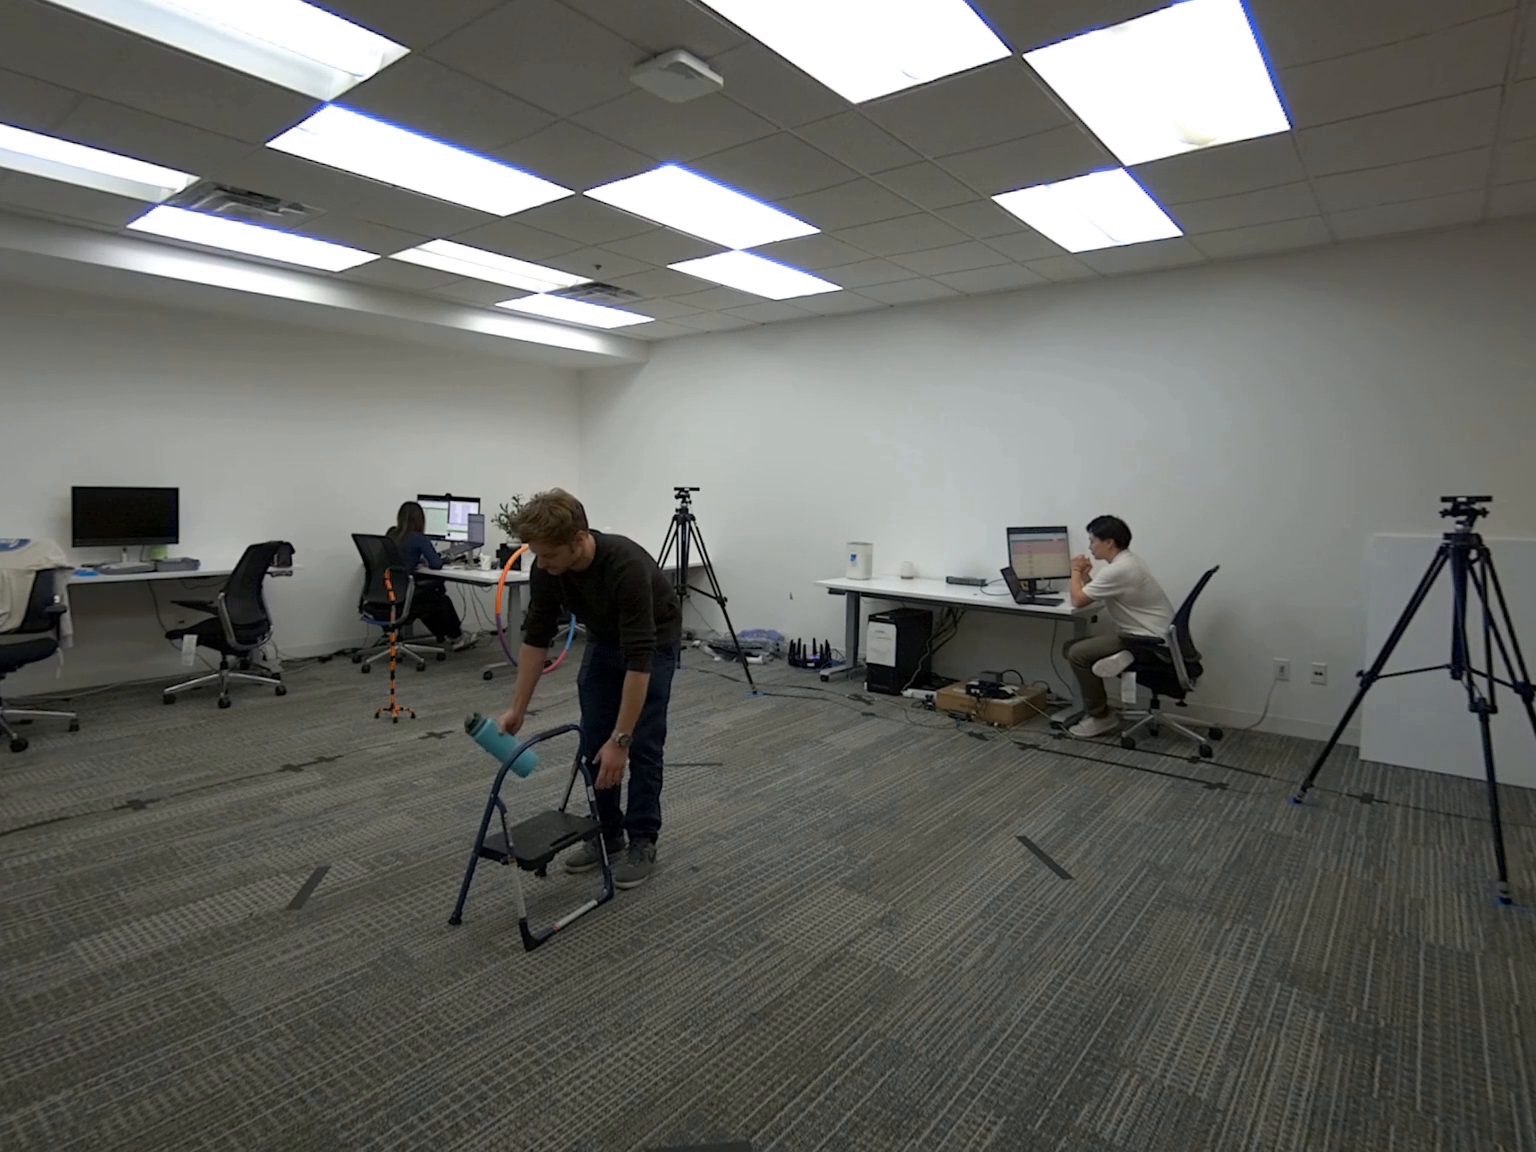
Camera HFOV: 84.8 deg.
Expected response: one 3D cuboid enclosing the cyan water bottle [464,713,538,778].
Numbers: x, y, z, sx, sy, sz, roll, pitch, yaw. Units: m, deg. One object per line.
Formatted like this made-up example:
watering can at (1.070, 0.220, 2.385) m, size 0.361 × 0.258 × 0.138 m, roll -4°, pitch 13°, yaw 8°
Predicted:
cyan water bottle at (-0.926, 0.567, 2.893) m, size 0.280 × 0.092 × 0.093 m, roll 41°, pitch -2°, yaw -7°
